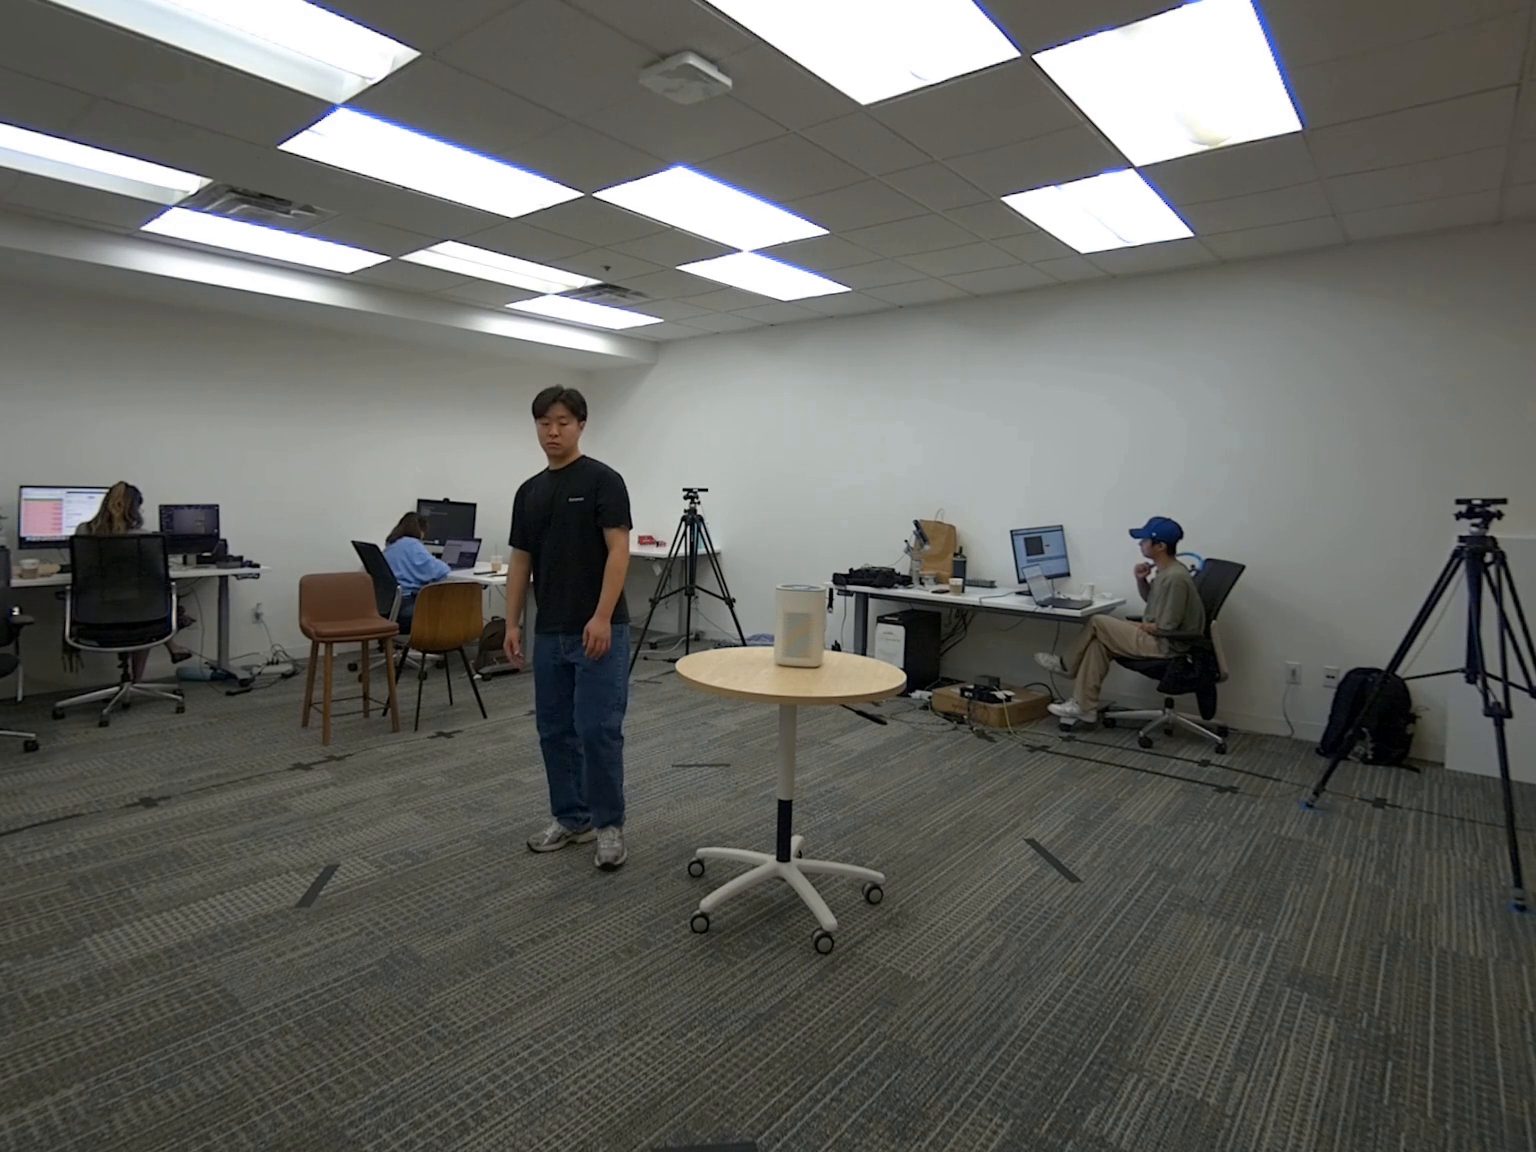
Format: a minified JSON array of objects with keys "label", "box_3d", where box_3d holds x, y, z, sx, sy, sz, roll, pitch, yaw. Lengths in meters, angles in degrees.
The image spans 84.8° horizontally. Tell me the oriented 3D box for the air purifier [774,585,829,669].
[{"label":"air purifier","box_3d":[0.107,0.169,2.929,0.173,0.264,0.171,1,4,4]}]
